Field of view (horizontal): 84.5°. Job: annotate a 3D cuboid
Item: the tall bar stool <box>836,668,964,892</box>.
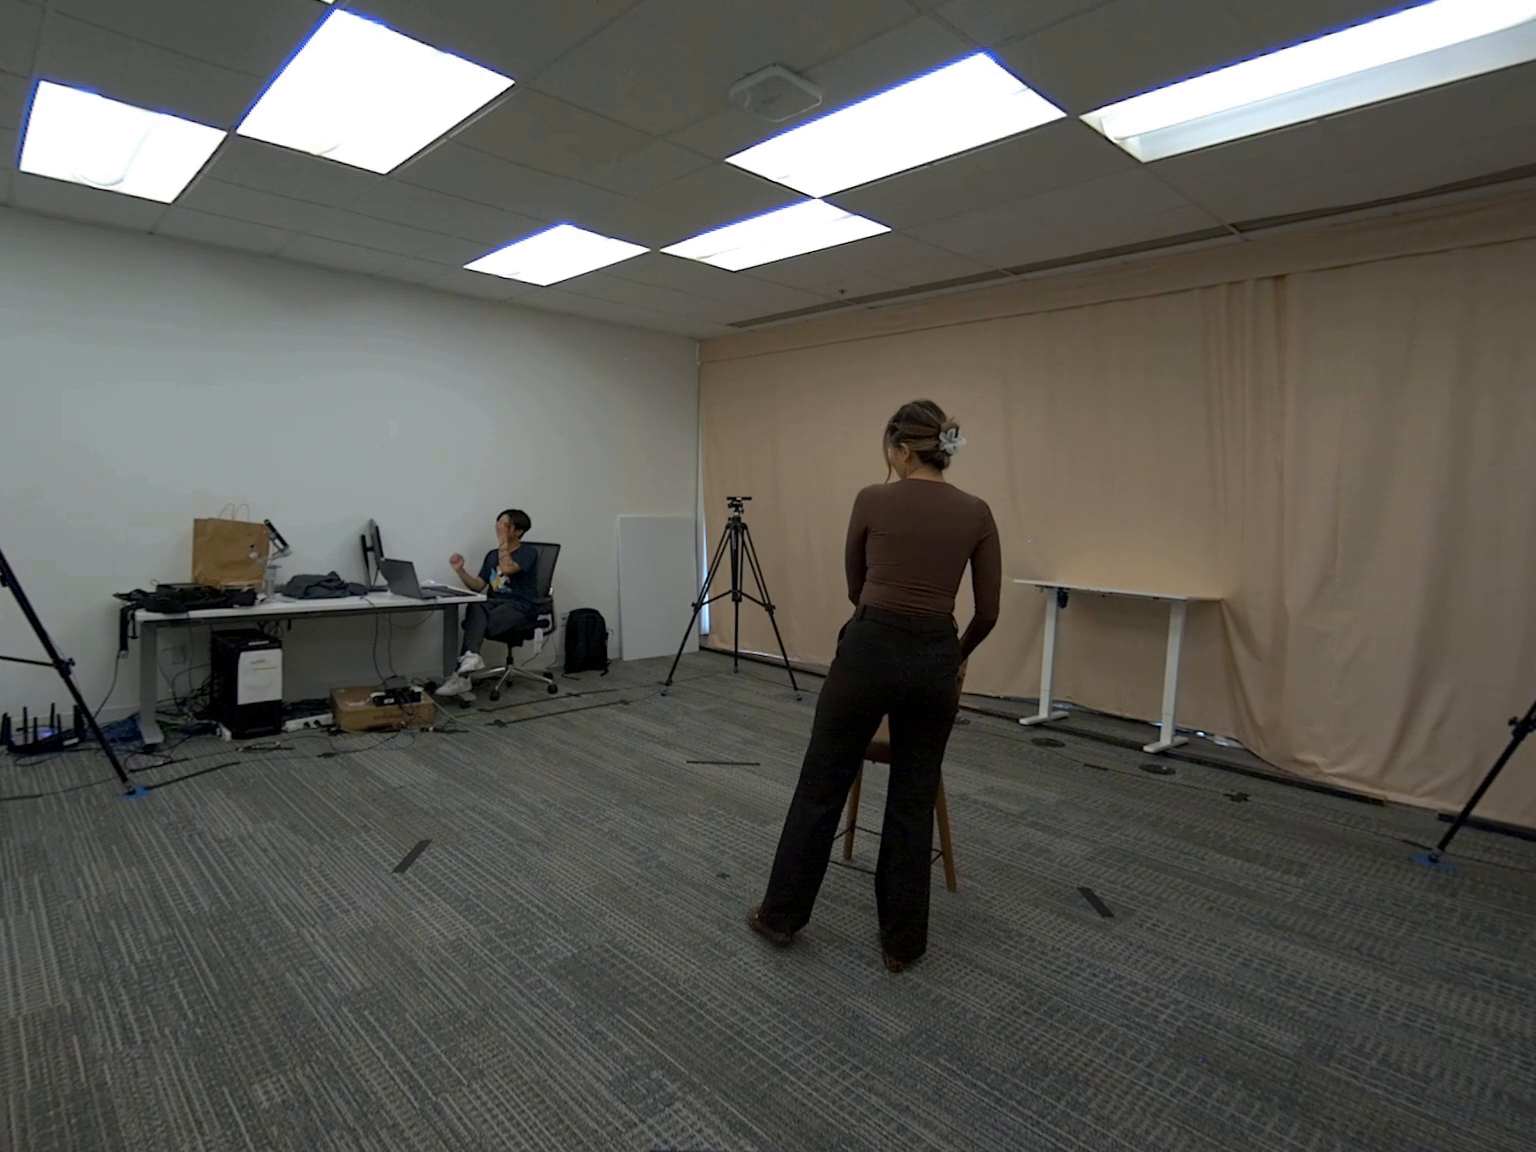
[{"bbox_3d":[0.418,0.698,2.975,0.479,0.887,0.447,6,5,32],"label":"tall bar stool"}]
